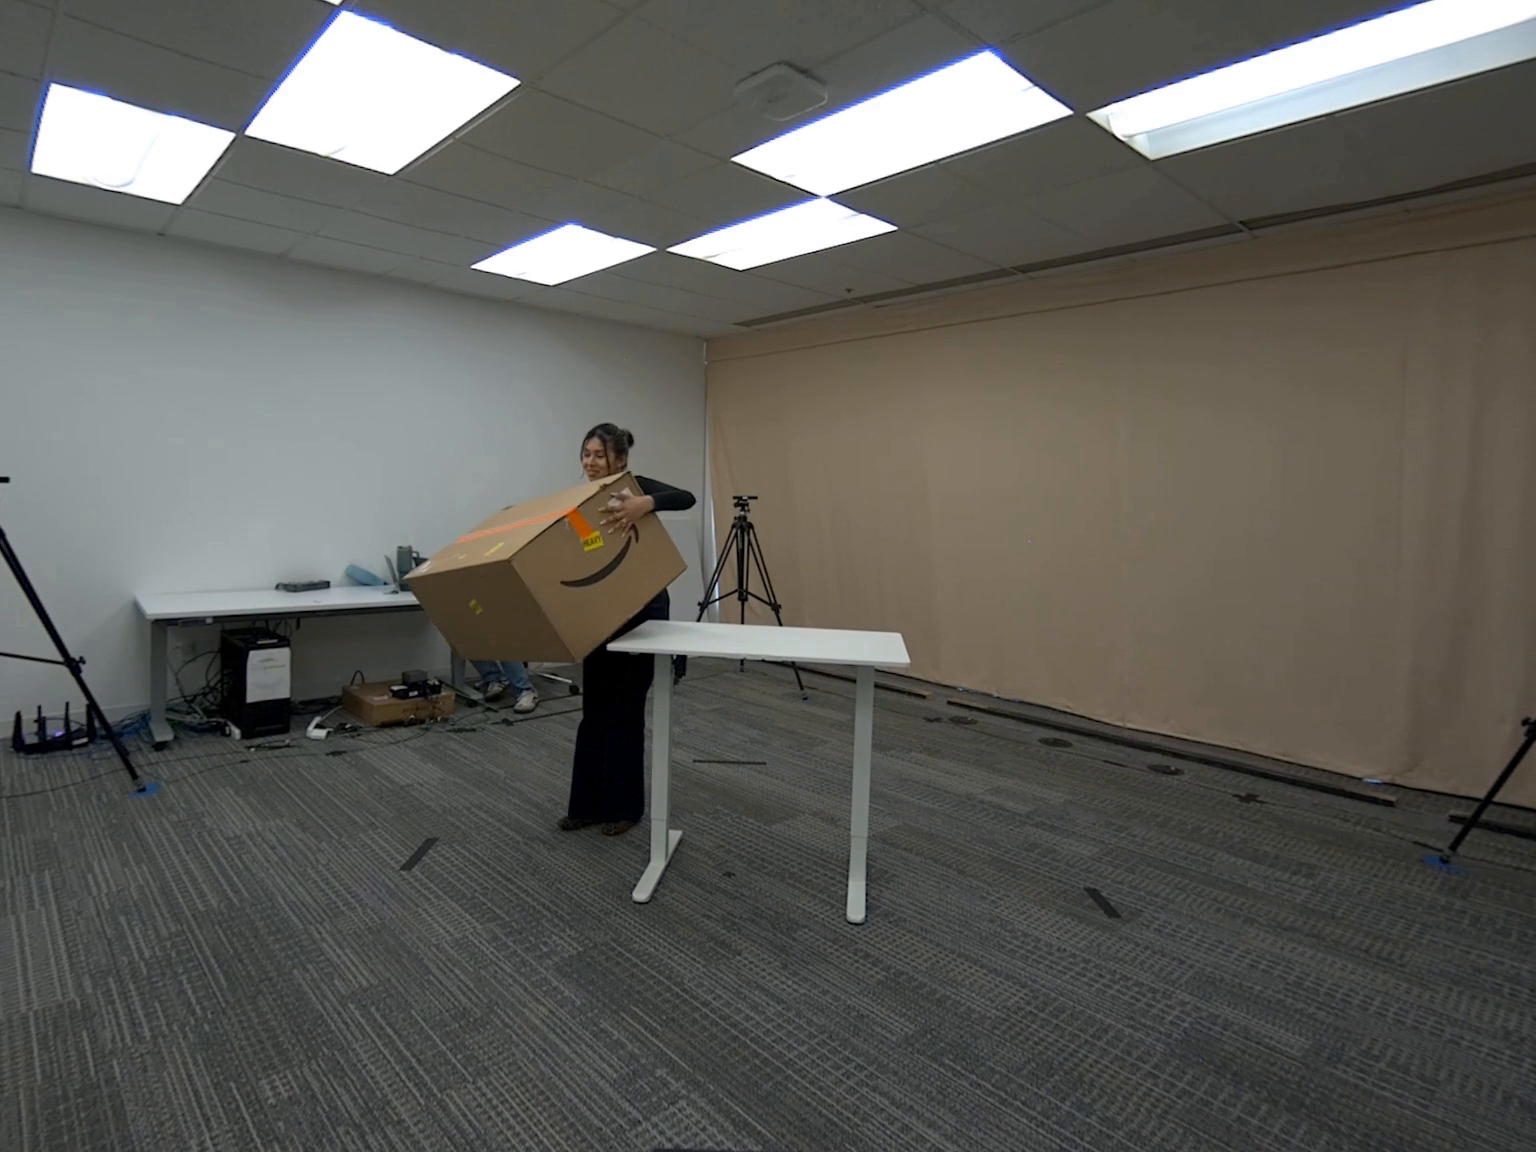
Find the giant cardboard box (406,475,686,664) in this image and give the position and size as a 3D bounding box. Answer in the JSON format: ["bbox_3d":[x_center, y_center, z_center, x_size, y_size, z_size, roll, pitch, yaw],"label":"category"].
[{"bbox_3d":[-0.903,-0.013,3.260,1.047,0.418,0.576,-5,31,49],"label":"giant cardboard box"}]
